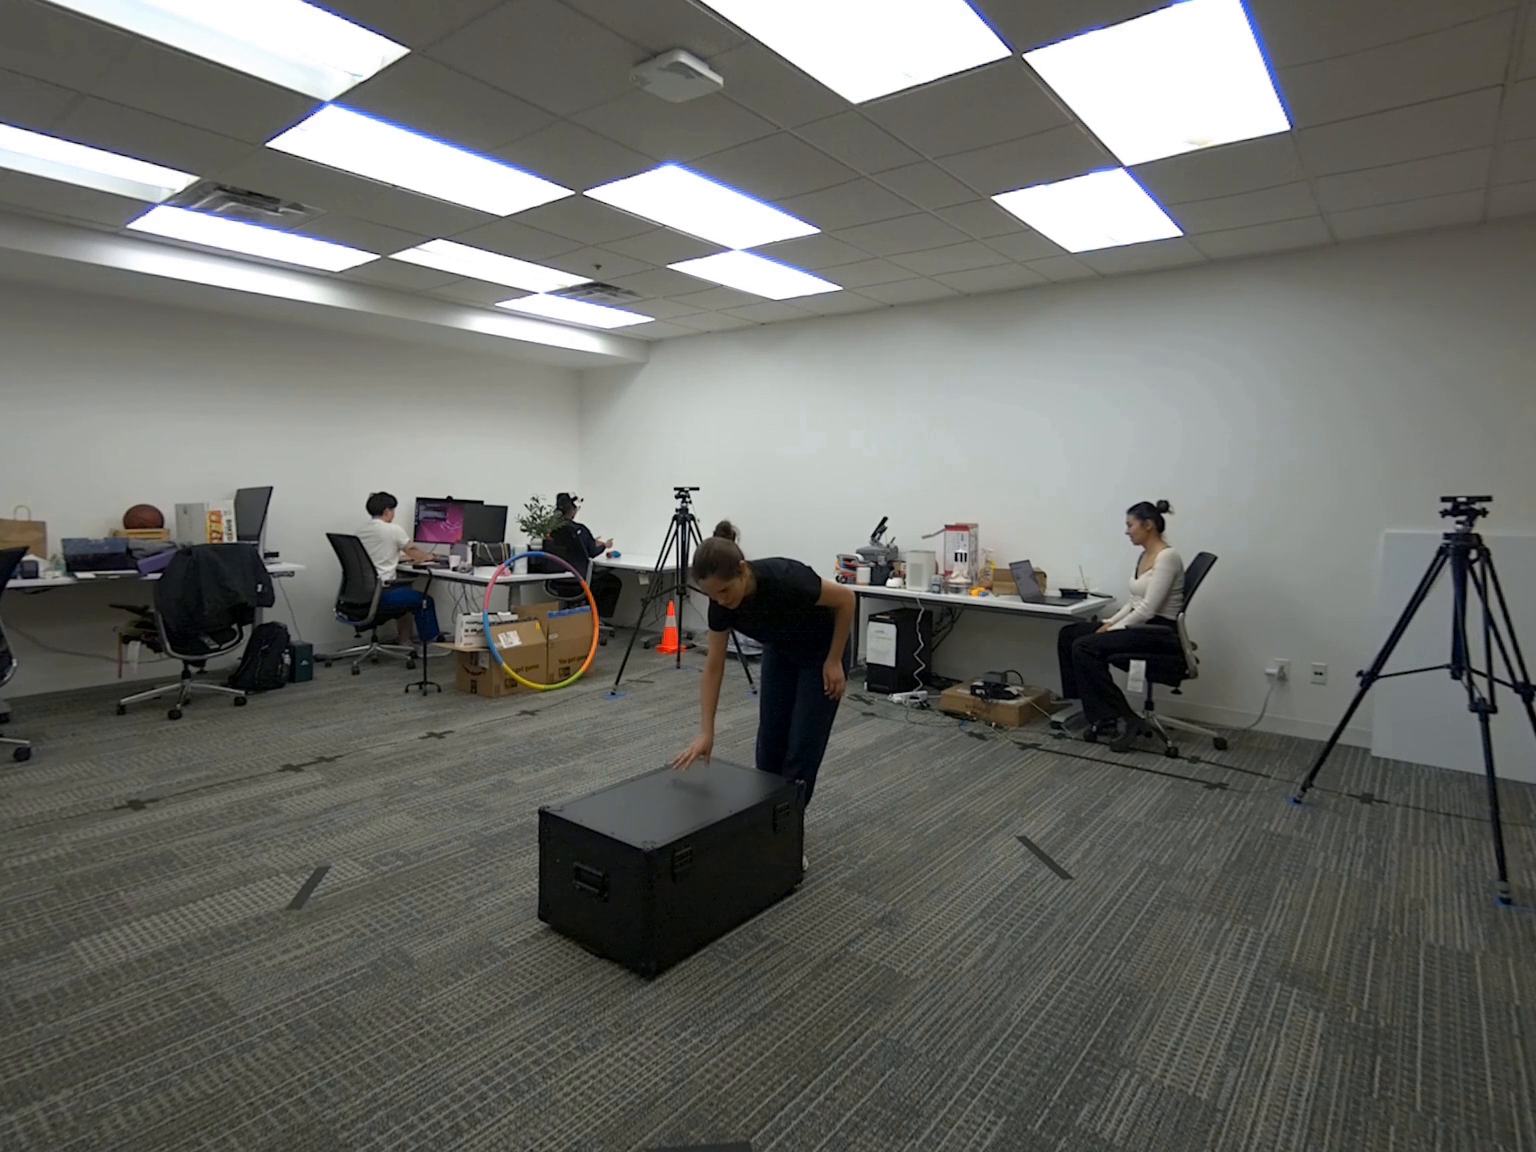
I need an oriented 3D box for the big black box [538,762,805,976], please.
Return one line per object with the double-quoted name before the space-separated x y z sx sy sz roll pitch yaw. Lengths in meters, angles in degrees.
"big black box" -0.267 0.882 2.851 0.538 0.395 0.836 4 5 38
